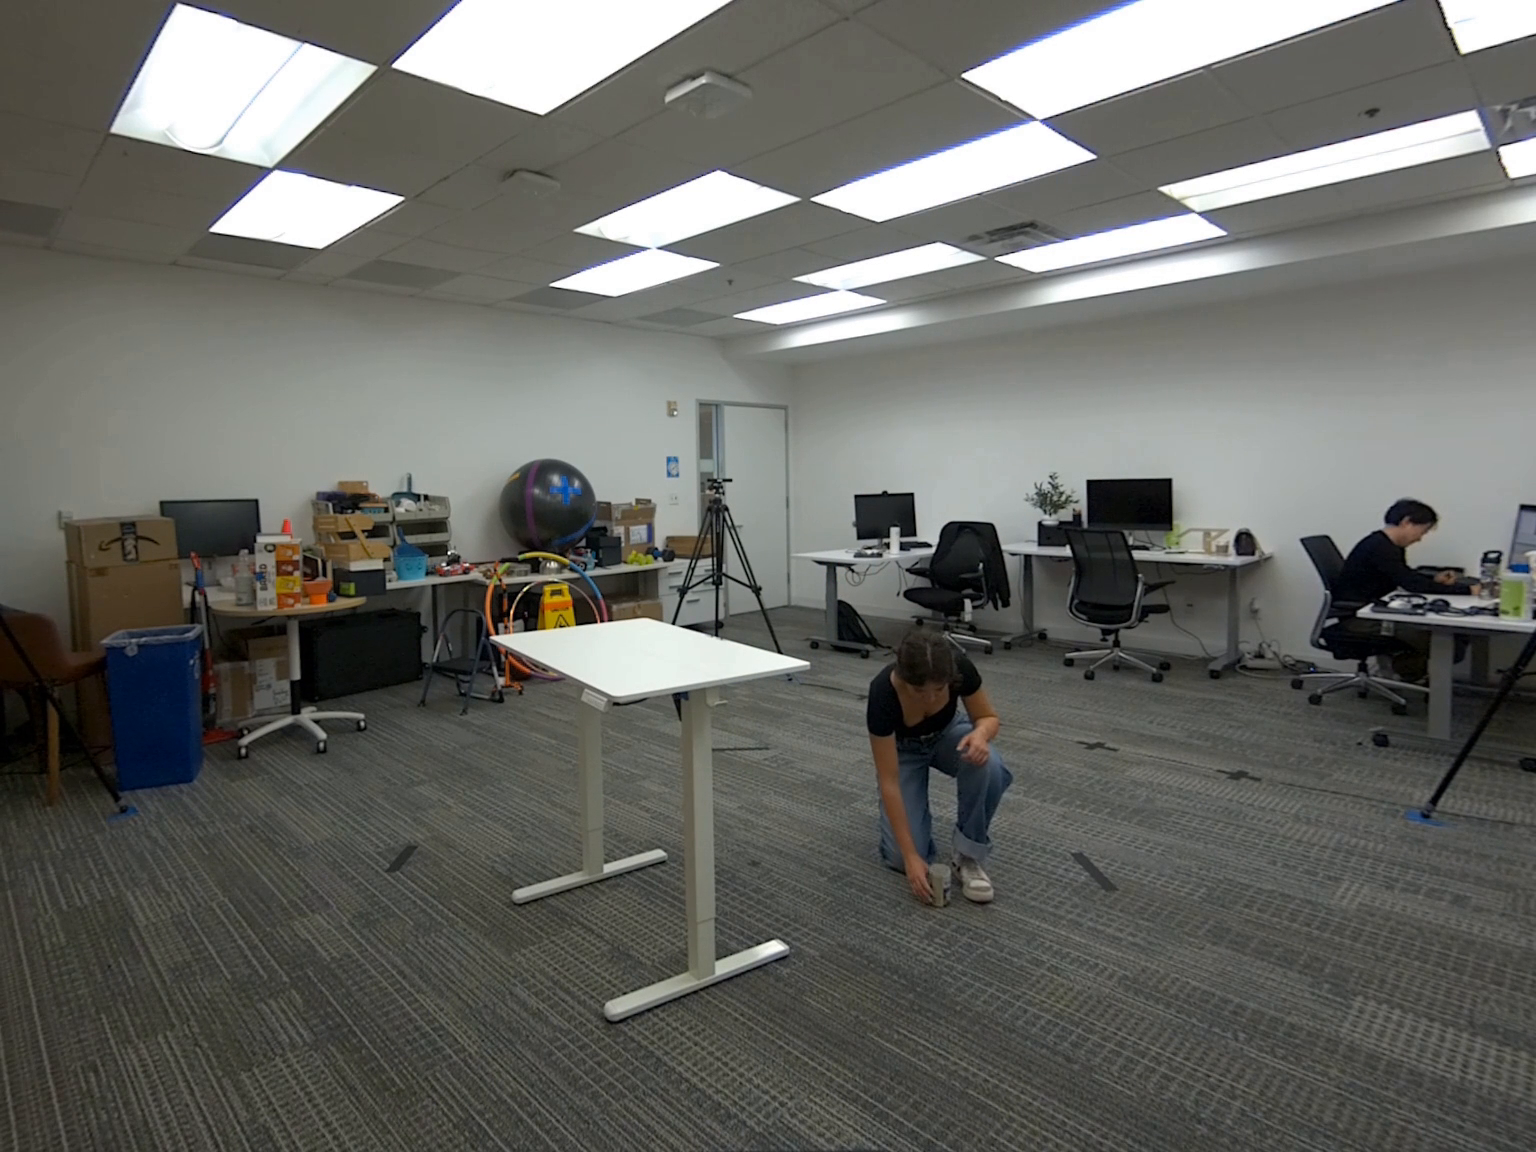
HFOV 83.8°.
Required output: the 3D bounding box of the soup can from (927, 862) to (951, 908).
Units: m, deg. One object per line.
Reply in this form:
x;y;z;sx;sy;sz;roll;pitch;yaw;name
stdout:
0.550;1.011;2.782;0.067;0.121;0.067;-3;5;-1;soup can
